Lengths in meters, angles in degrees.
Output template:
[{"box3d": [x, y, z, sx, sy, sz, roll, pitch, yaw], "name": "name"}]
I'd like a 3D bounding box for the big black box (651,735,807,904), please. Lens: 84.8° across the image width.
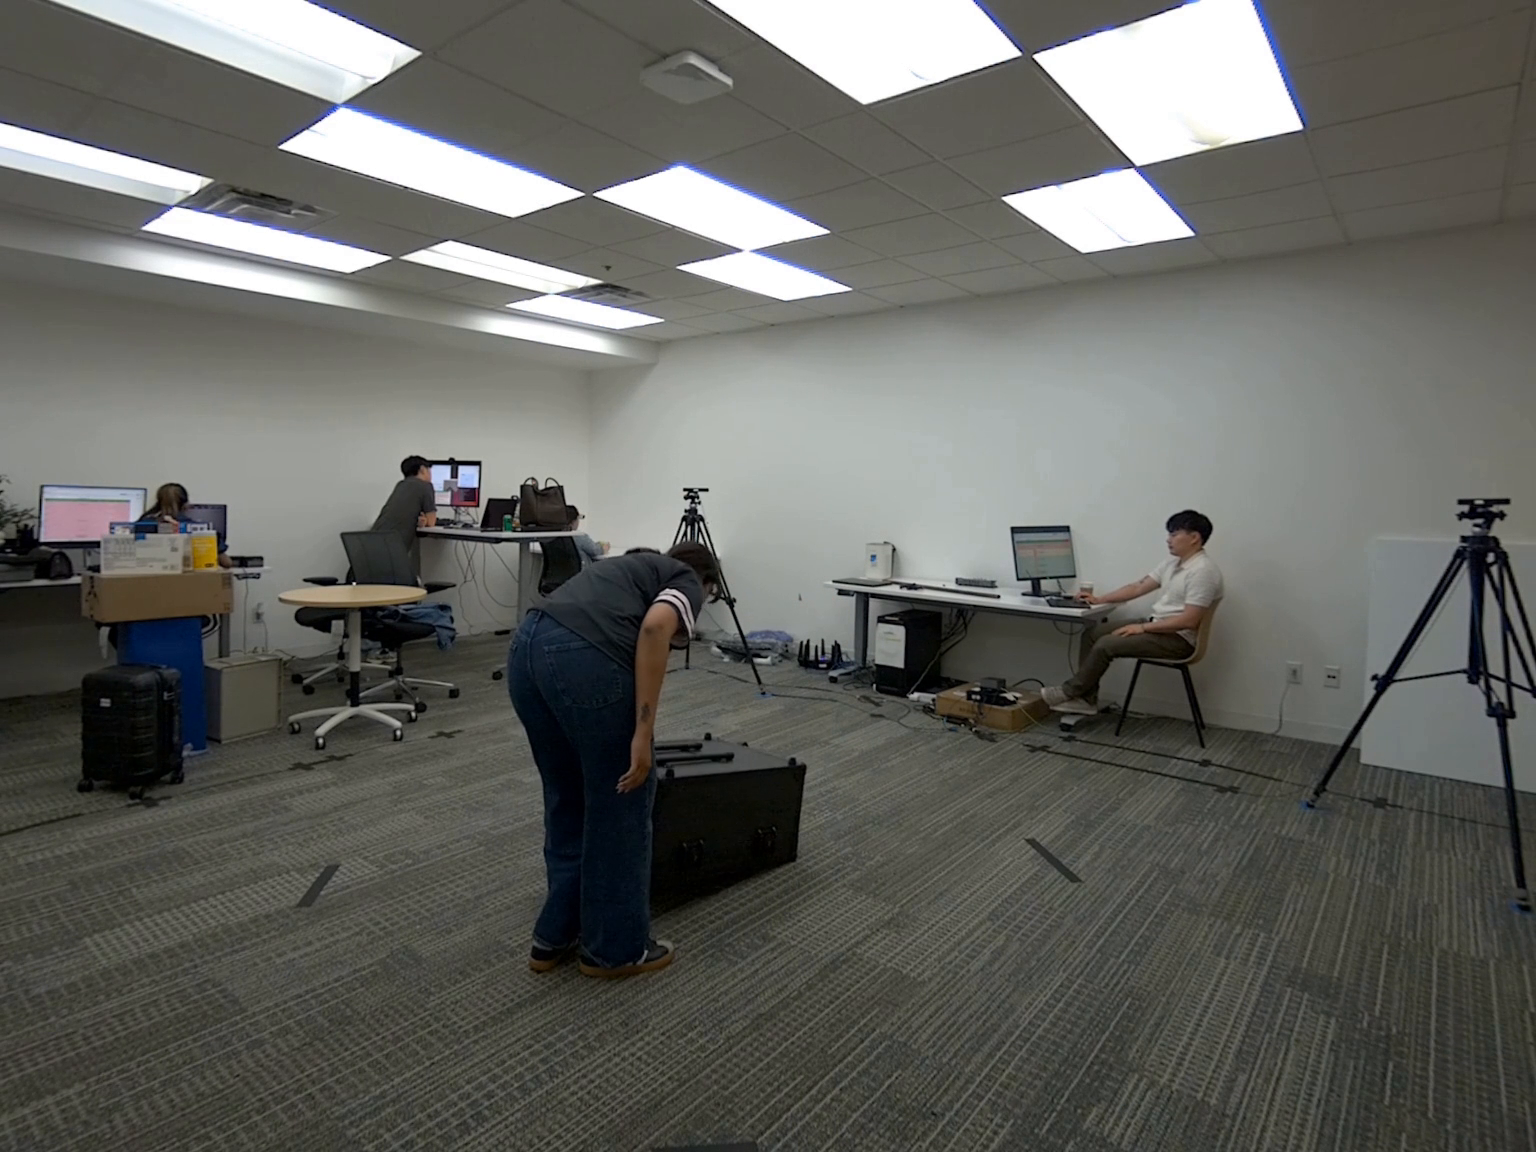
[{"box3d": [-0.292, 0.829, 3.129, 0.541, 0.386, 0.837, 4, -3, 42], "name": "big black box"}]
